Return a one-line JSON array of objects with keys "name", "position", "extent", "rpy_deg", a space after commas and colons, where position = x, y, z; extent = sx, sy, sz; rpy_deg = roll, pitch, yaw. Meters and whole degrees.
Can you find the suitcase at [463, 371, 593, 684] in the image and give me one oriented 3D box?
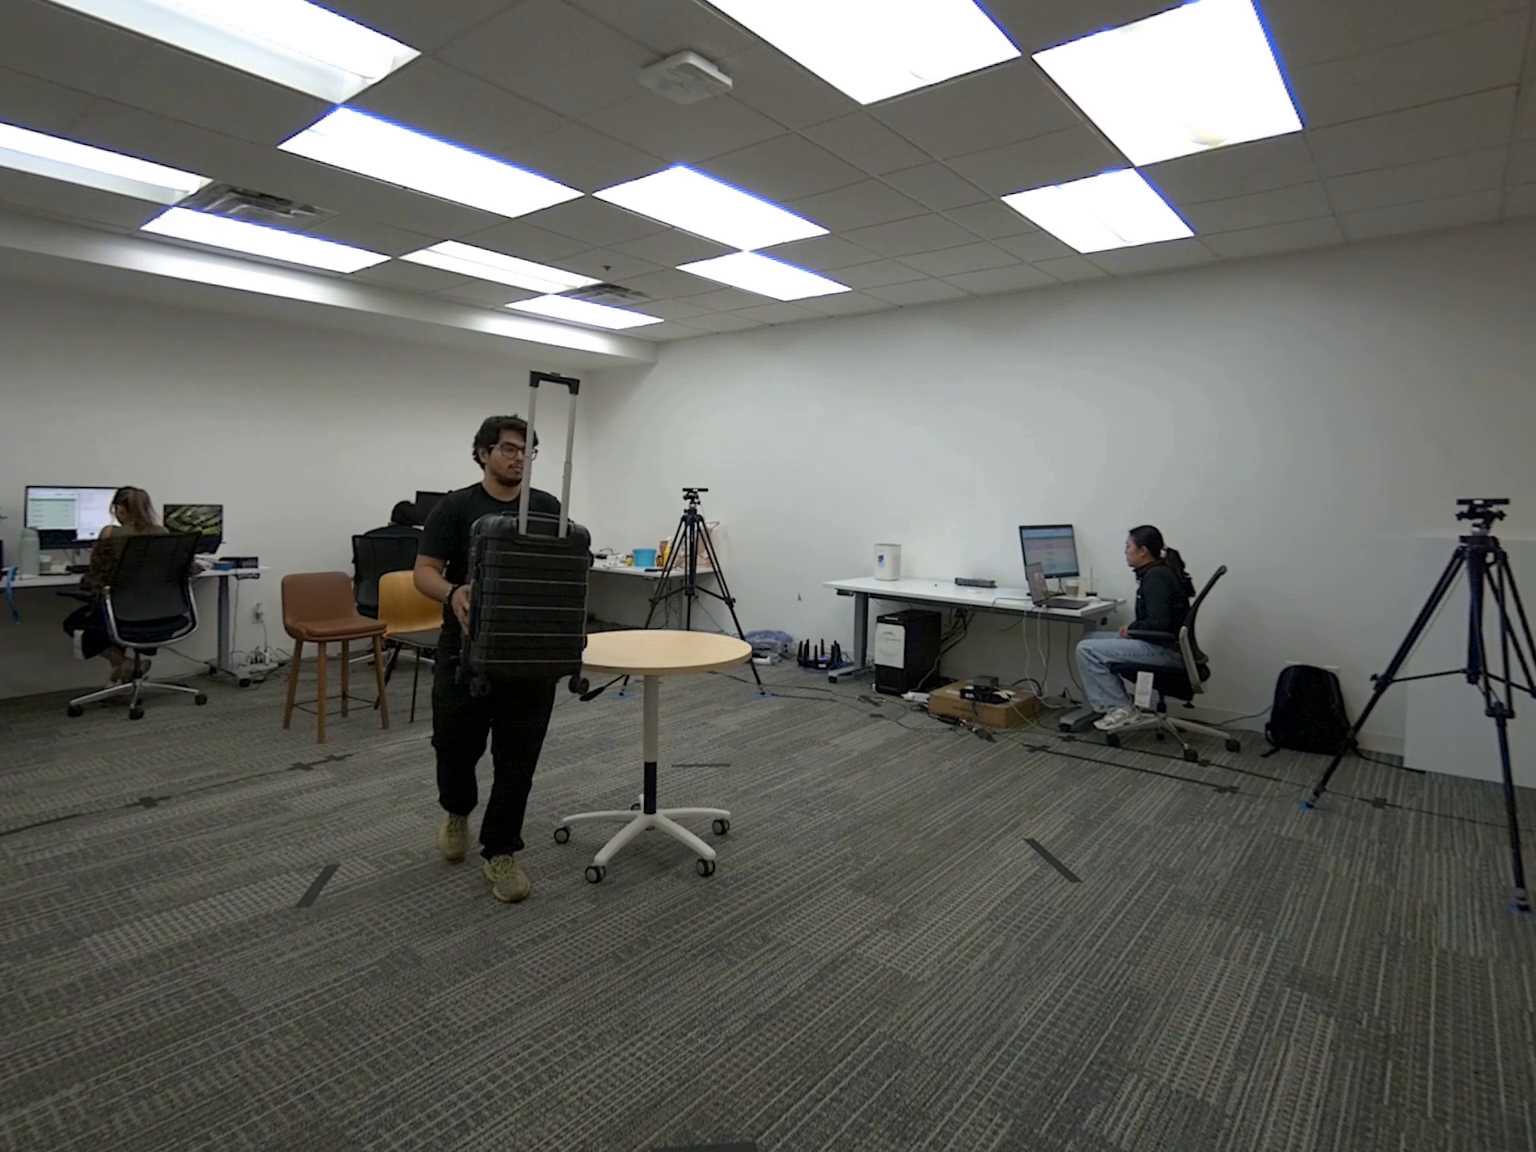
[{"name": "suitcase", "position": [-0.765, -0.132, 2.689], "extent": [0.372, 0.980, 0.265], "rpy_deg": [5, -2, -33]}]
